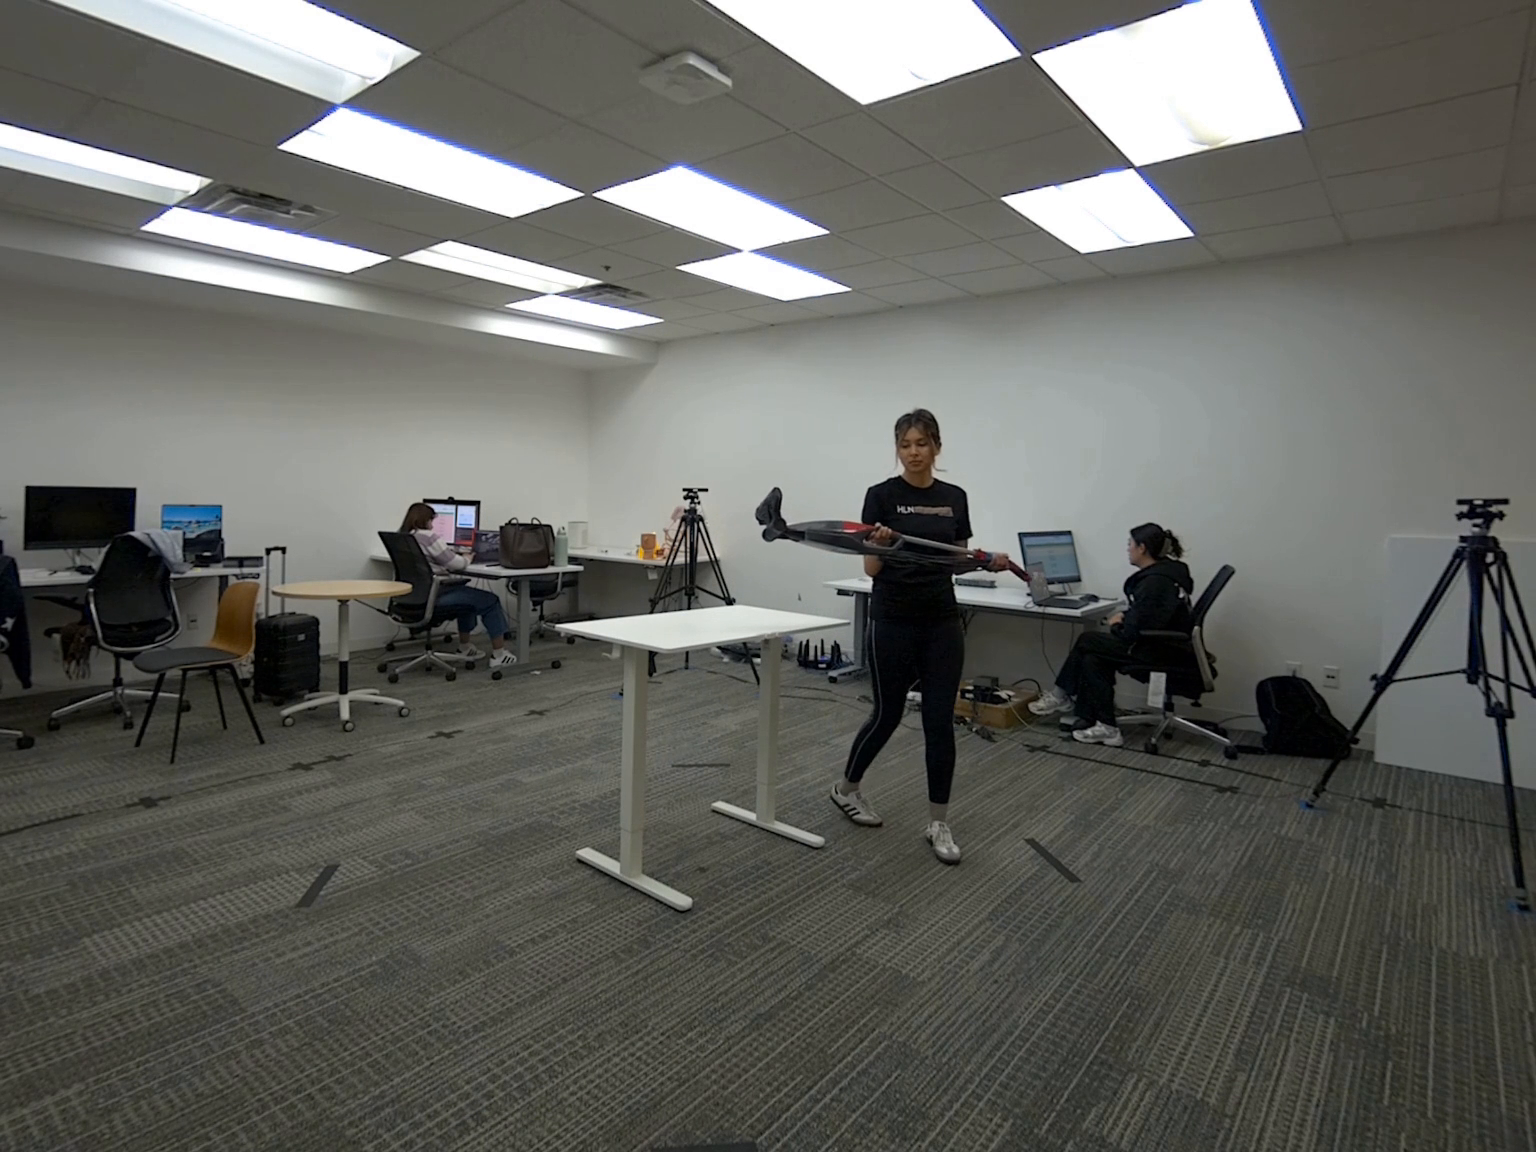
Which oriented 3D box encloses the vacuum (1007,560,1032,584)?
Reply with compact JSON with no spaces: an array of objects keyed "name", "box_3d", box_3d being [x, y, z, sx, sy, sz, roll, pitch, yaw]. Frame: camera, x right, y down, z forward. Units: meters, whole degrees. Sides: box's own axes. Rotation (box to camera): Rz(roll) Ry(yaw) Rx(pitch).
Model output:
[{"name":"vacuum","box_3d":[0.483,-0.098,3.111,1.038,0.146,0.251,13,-20,-9]}]
